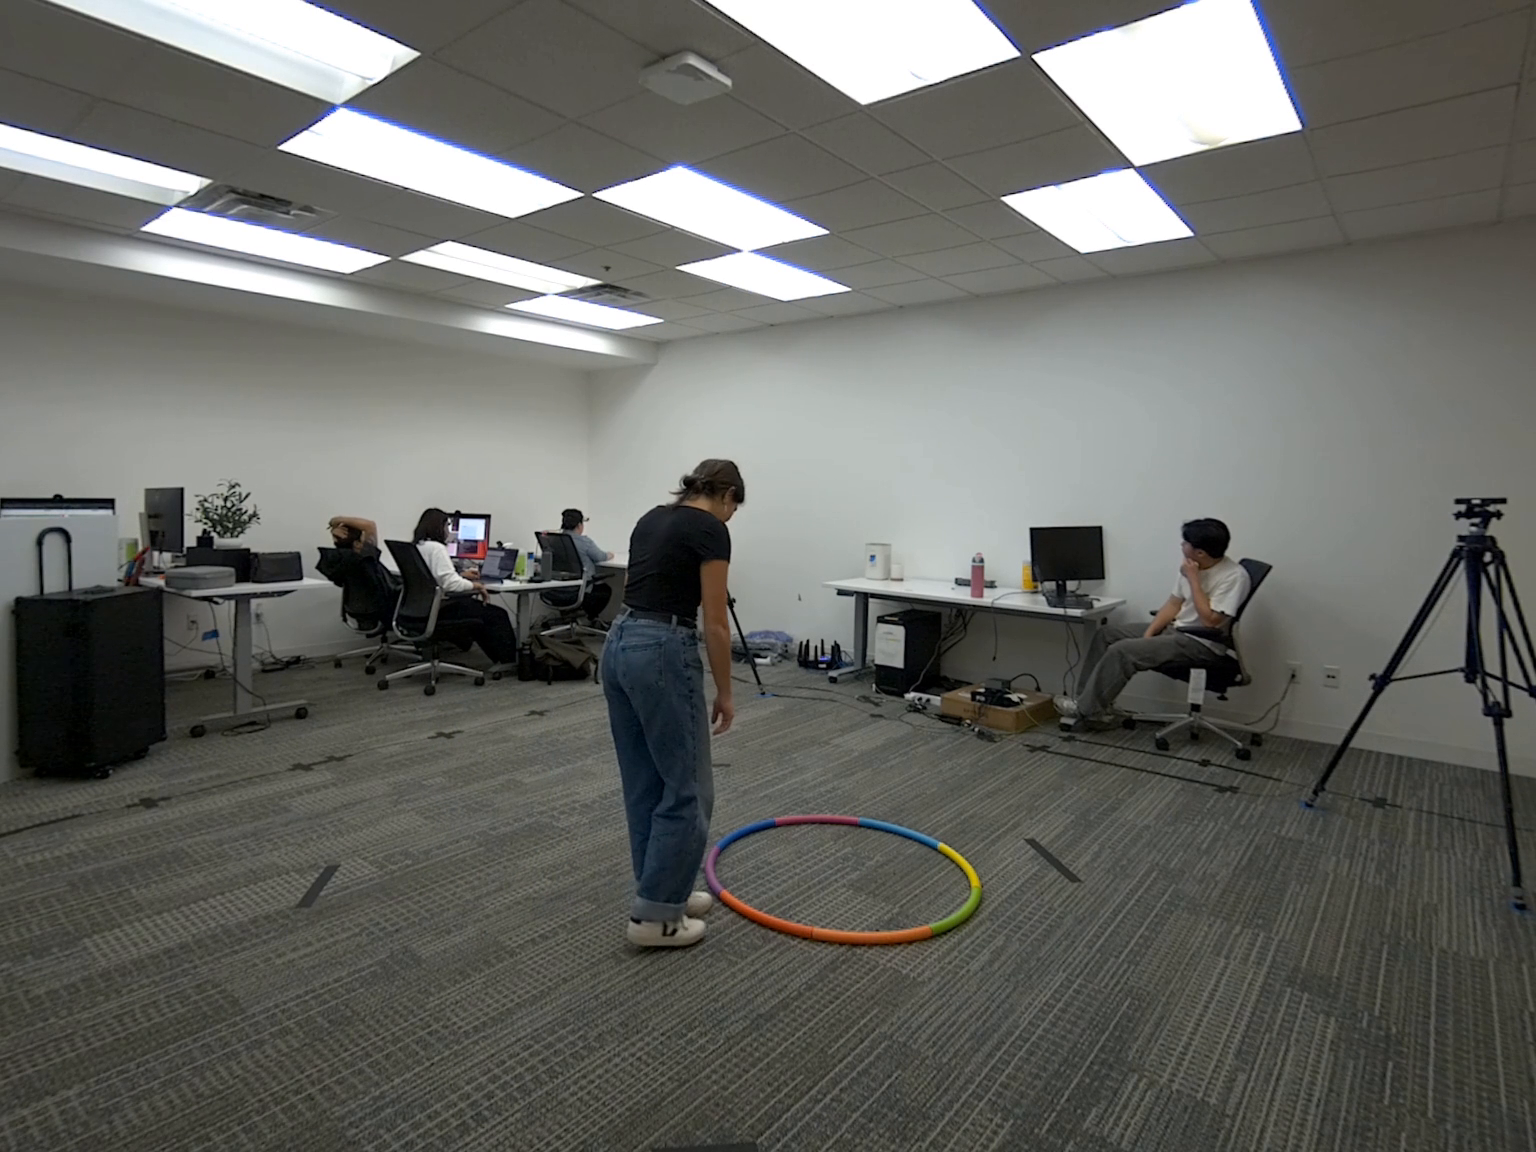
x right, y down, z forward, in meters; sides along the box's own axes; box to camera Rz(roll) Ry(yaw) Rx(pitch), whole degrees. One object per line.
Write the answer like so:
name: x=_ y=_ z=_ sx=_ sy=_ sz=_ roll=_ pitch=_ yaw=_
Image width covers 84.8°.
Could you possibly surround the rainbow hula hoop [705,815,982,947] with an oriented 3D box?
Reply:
rainbow hula hoop: x=0.259 y=1.046 z=3.094 sx=0.978 sy=0.035 sz=0.984 roll=1 pitch=6 yaw=-2
